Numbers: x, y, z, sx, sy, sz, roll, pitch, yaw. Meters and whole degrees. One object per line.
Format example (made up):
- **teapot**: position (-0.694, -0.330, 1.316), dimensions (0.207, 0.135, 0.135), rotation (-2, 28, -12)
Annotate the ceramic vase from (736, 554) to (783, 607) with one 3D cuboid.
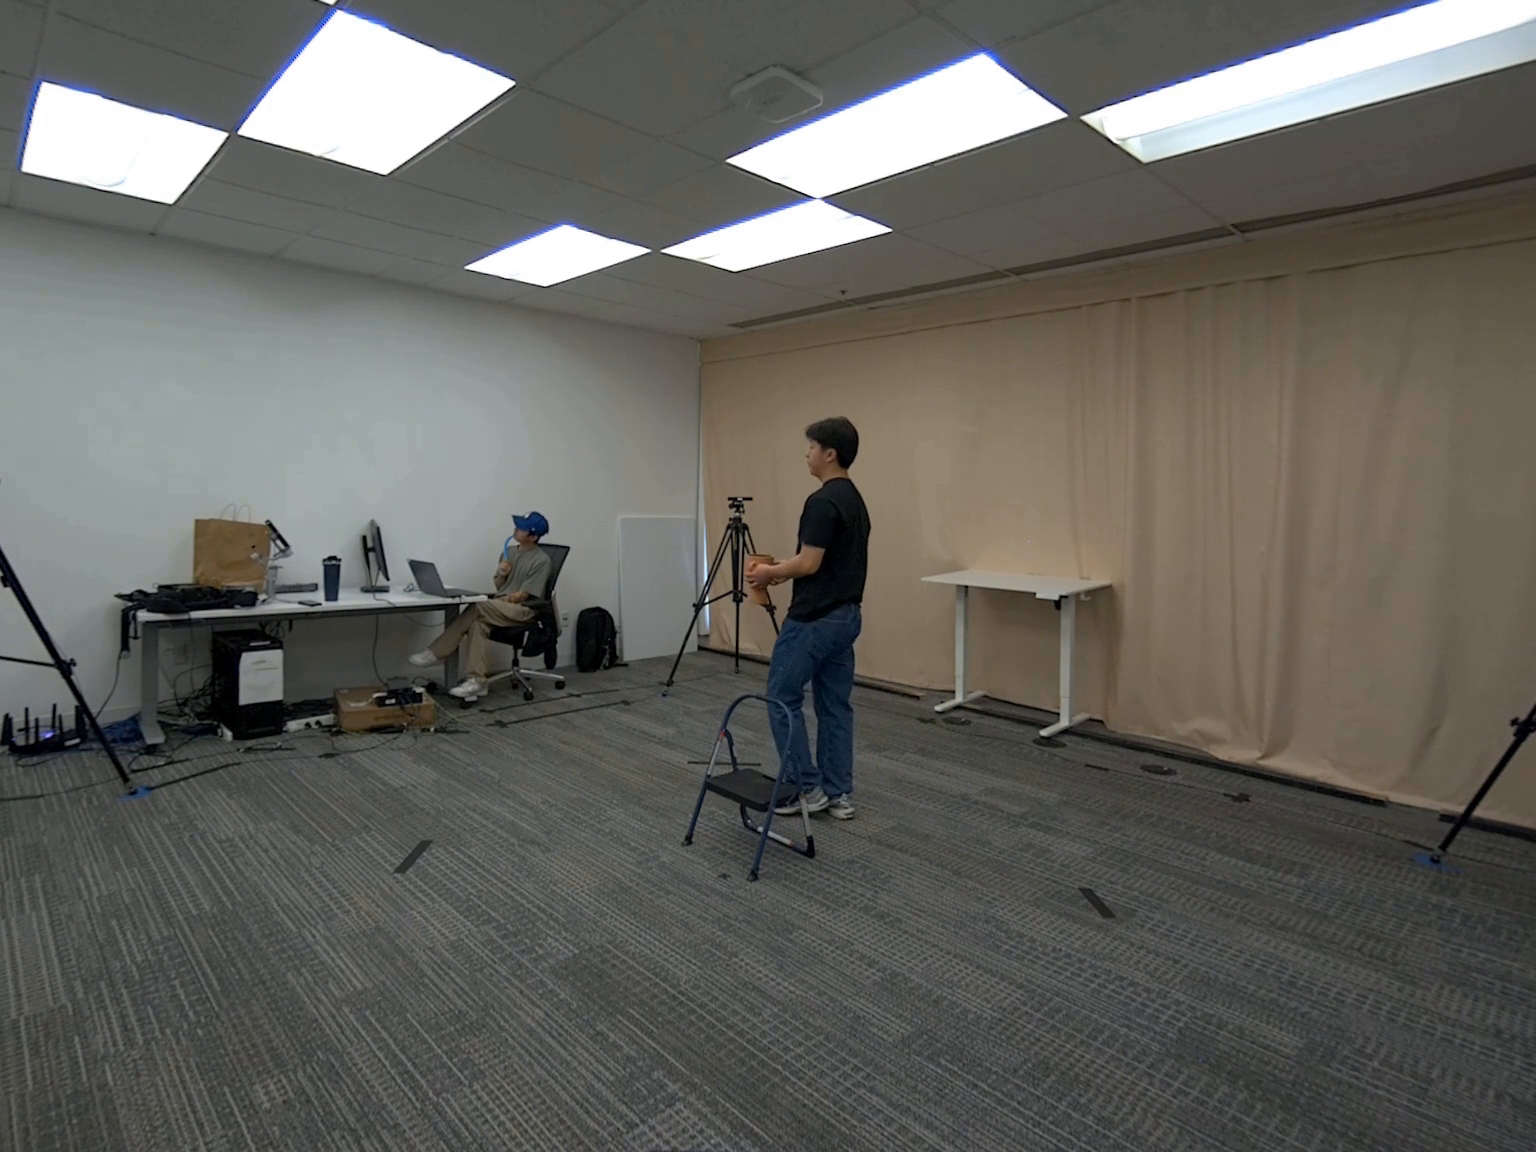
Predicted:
- **ceramic vase**: position (-0.043, 0.015, 3.869), dimensions (0.156, 0.219, 0.137), rotation (1, 4, -26)
